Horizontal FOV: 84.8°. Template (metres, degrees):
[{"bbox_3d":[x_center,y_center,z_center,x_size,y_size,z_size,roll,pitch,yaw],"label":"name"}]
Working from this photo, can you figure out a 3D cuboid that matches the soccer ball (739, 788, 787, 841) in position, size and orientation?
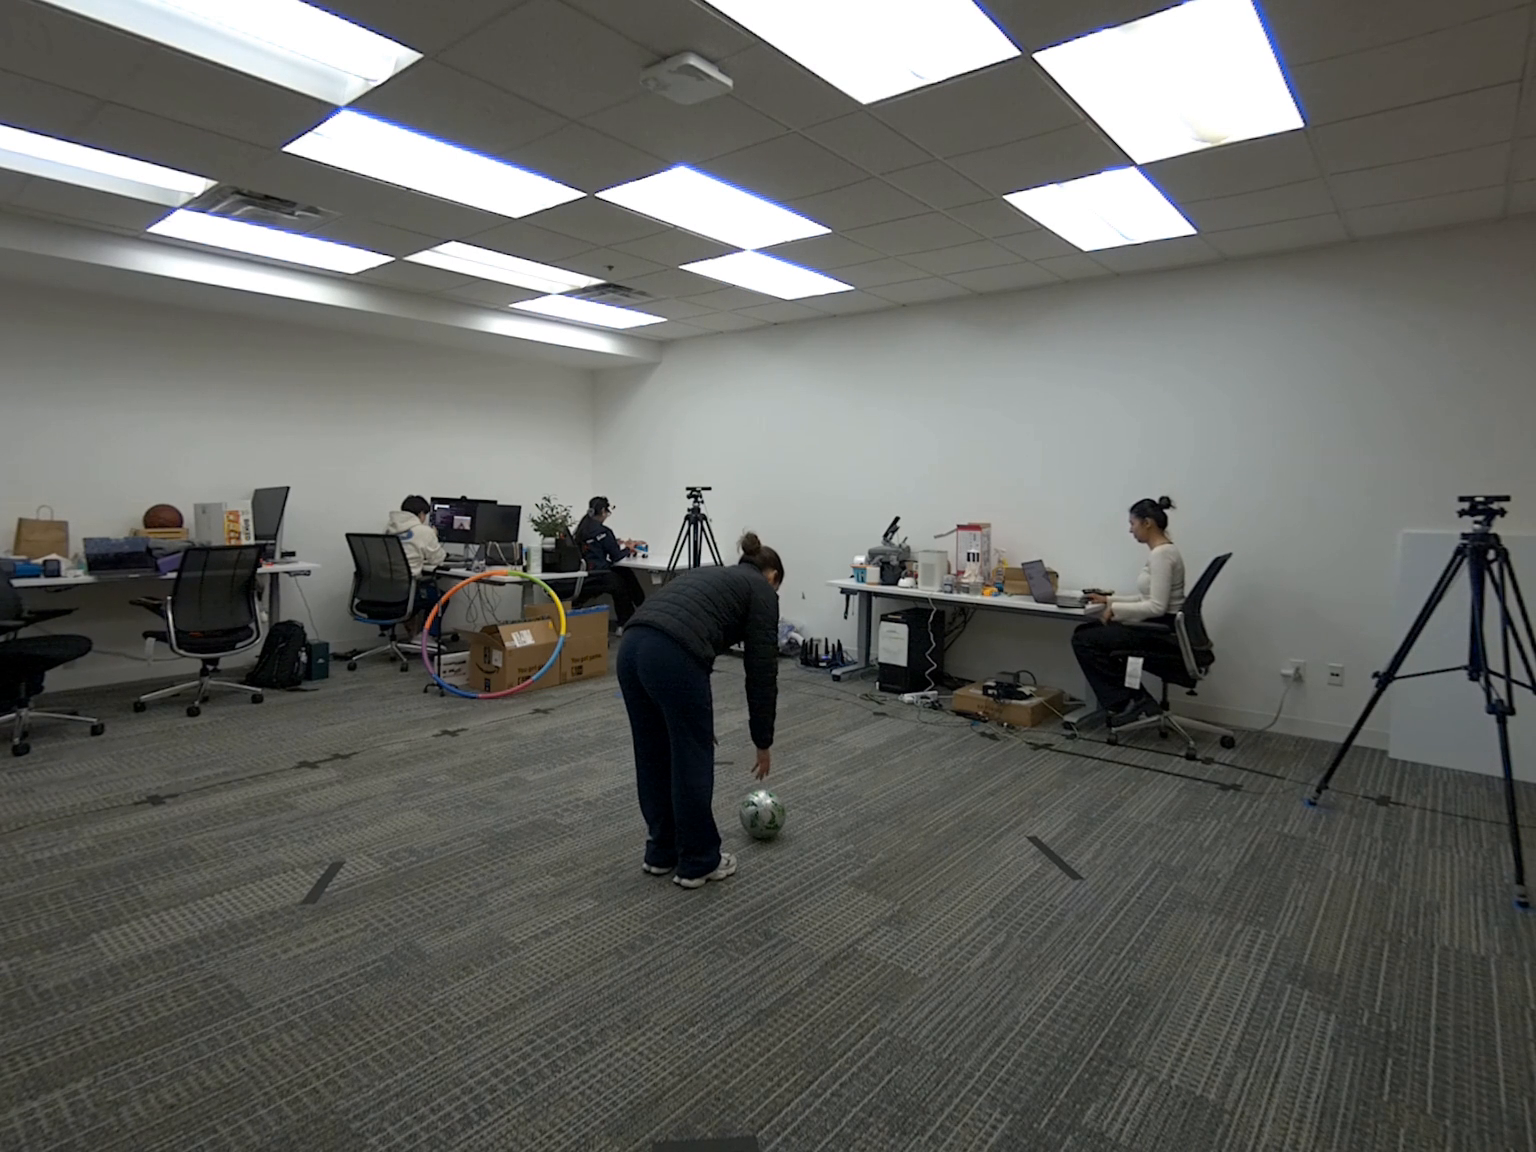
[{"bbox_3d":[-0.032,0.945,3.398,0.187,0.187,0.188,1,4,-2],"label":"soccer ball"}]
